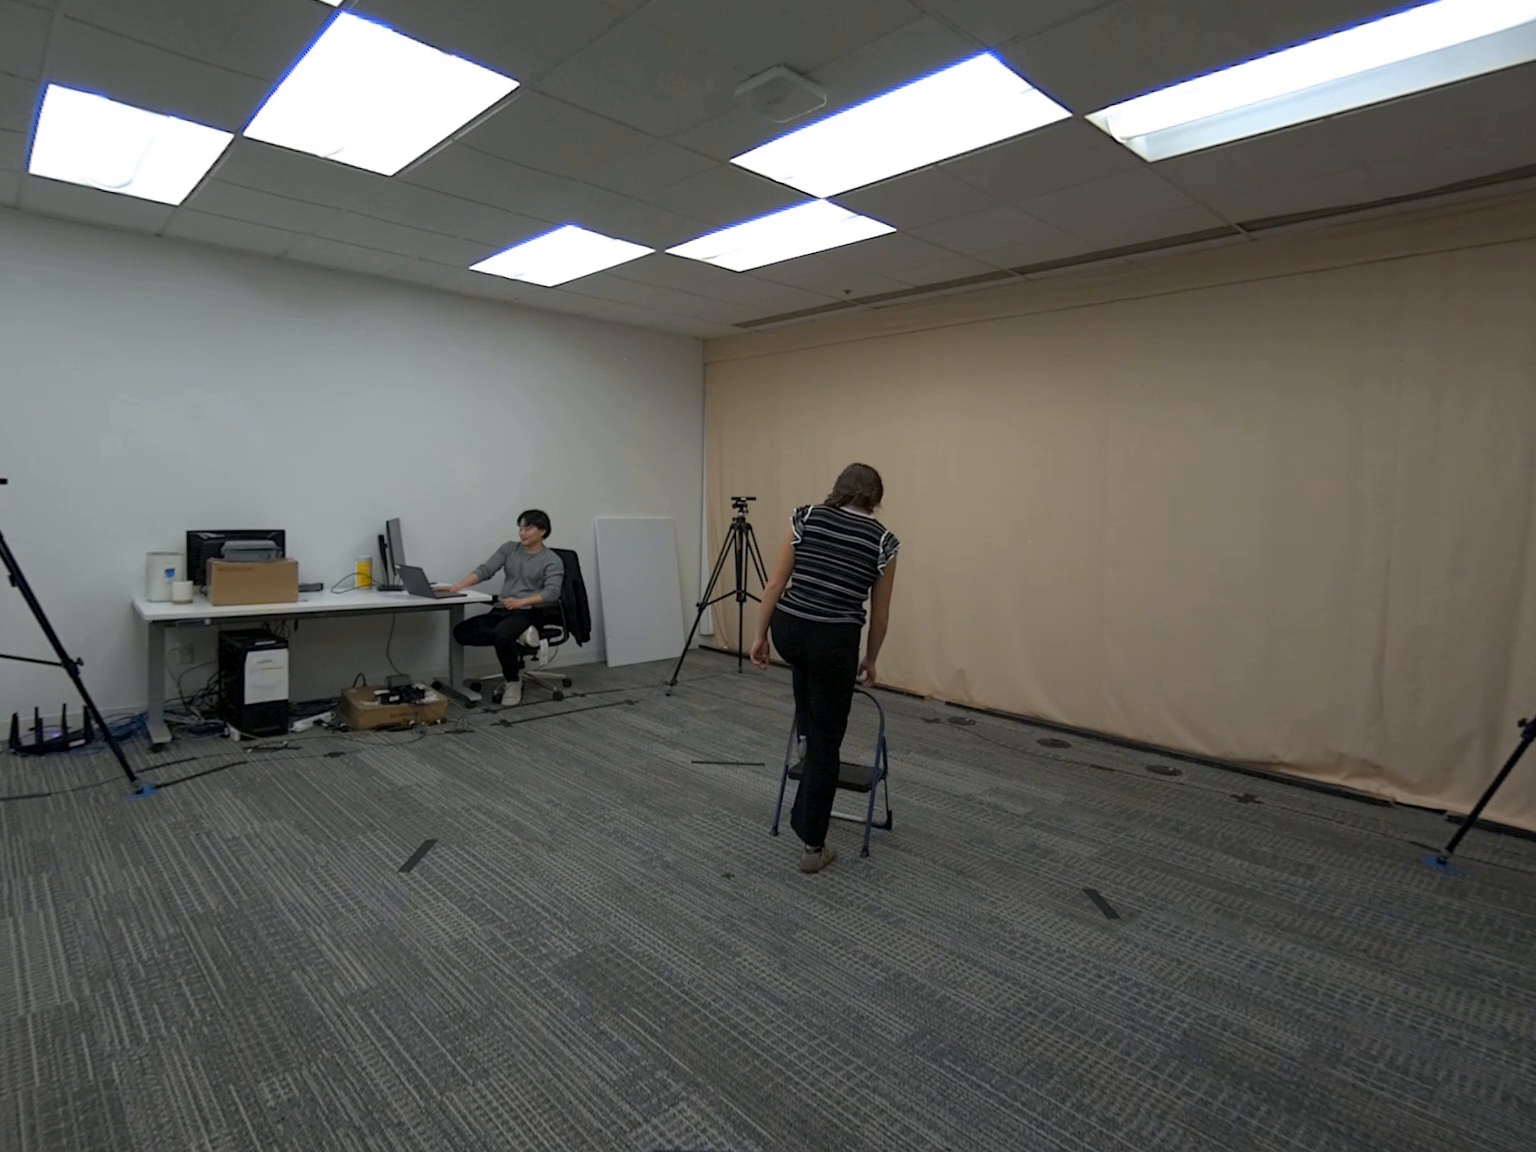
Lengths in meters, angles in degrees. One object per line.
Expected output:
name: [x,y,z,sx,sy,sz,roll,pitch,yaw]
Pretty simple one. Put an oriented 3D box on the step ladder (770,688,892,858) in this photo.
step ladder: [0.277,0.776,3.536,0.439,0.605,0.343,4,3,27]
